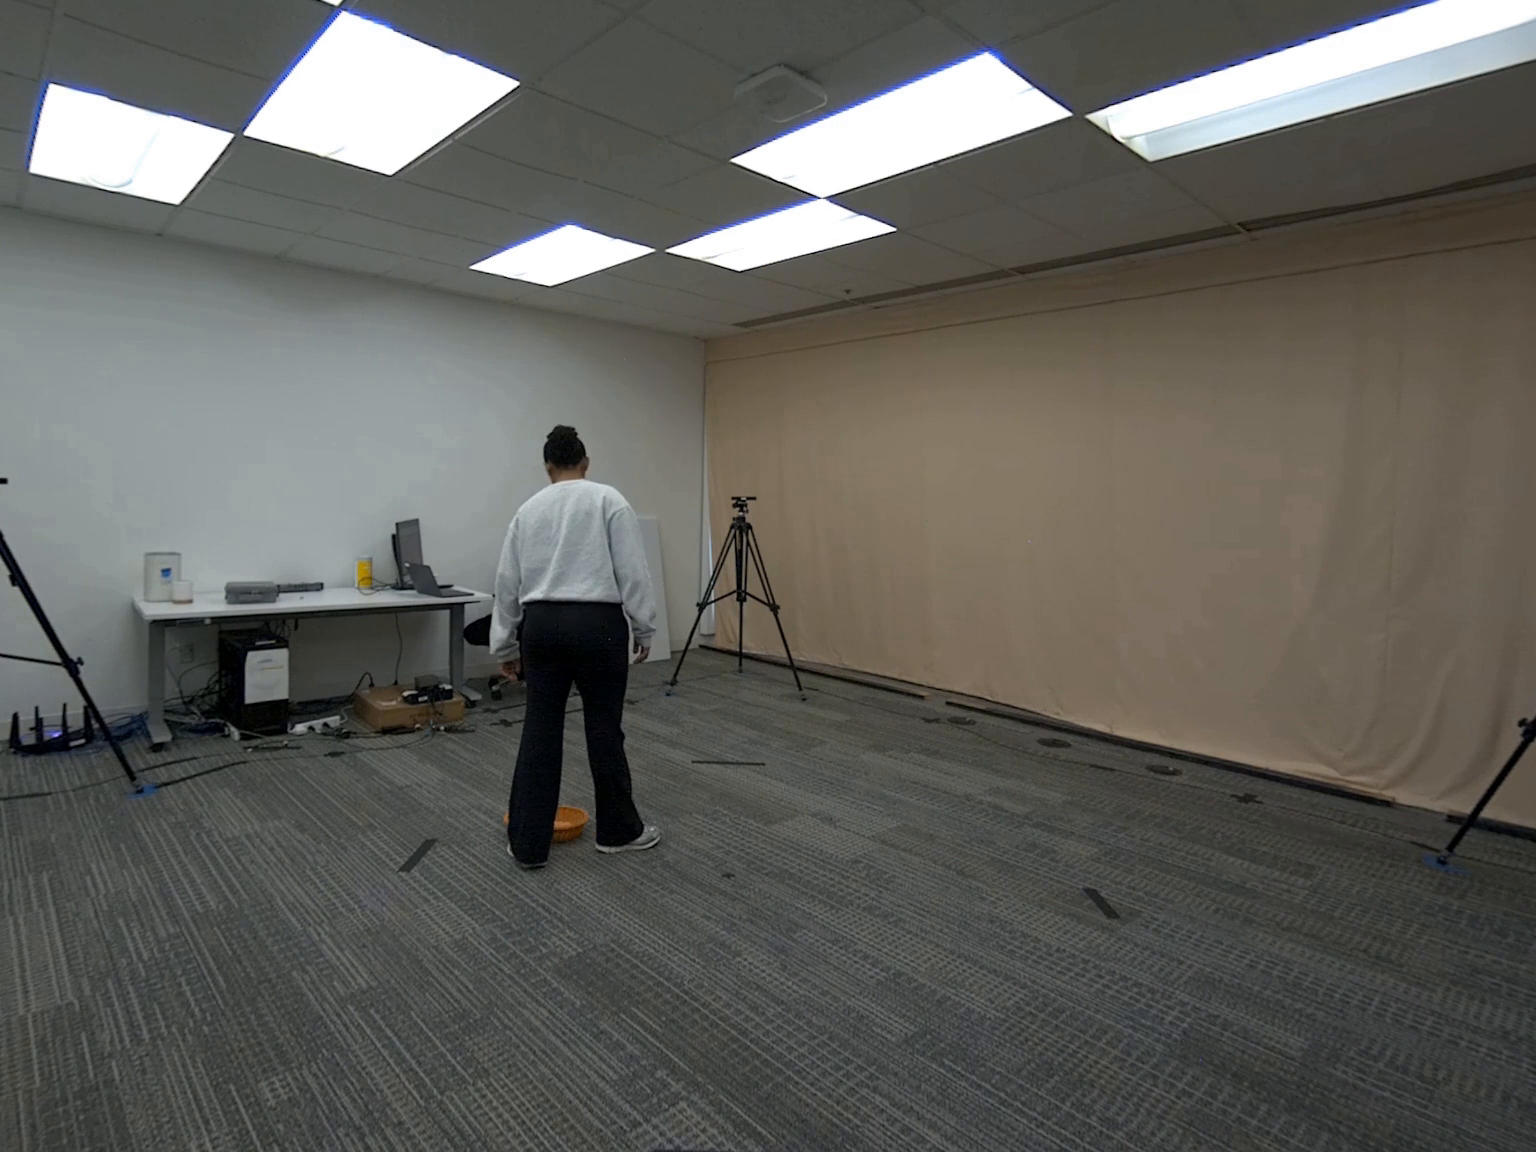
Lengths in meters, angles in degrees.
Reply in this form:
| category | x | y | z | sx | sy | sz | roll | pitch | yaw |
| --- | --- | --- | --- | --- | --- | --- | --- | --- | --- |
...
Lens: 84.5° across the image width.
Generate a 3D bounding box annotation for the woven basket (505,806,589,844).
| category | x | y | z | sx | sy | sz | roll | pitch | yaw |
| --- | --- | --- | --- | --- | --- | --- | --- | --- | --- |
| woven basket | -0.910 | 1.020 | 3.457 | 0.352 | 0.073 | 0.252 | 2 | 6 | 4 |
